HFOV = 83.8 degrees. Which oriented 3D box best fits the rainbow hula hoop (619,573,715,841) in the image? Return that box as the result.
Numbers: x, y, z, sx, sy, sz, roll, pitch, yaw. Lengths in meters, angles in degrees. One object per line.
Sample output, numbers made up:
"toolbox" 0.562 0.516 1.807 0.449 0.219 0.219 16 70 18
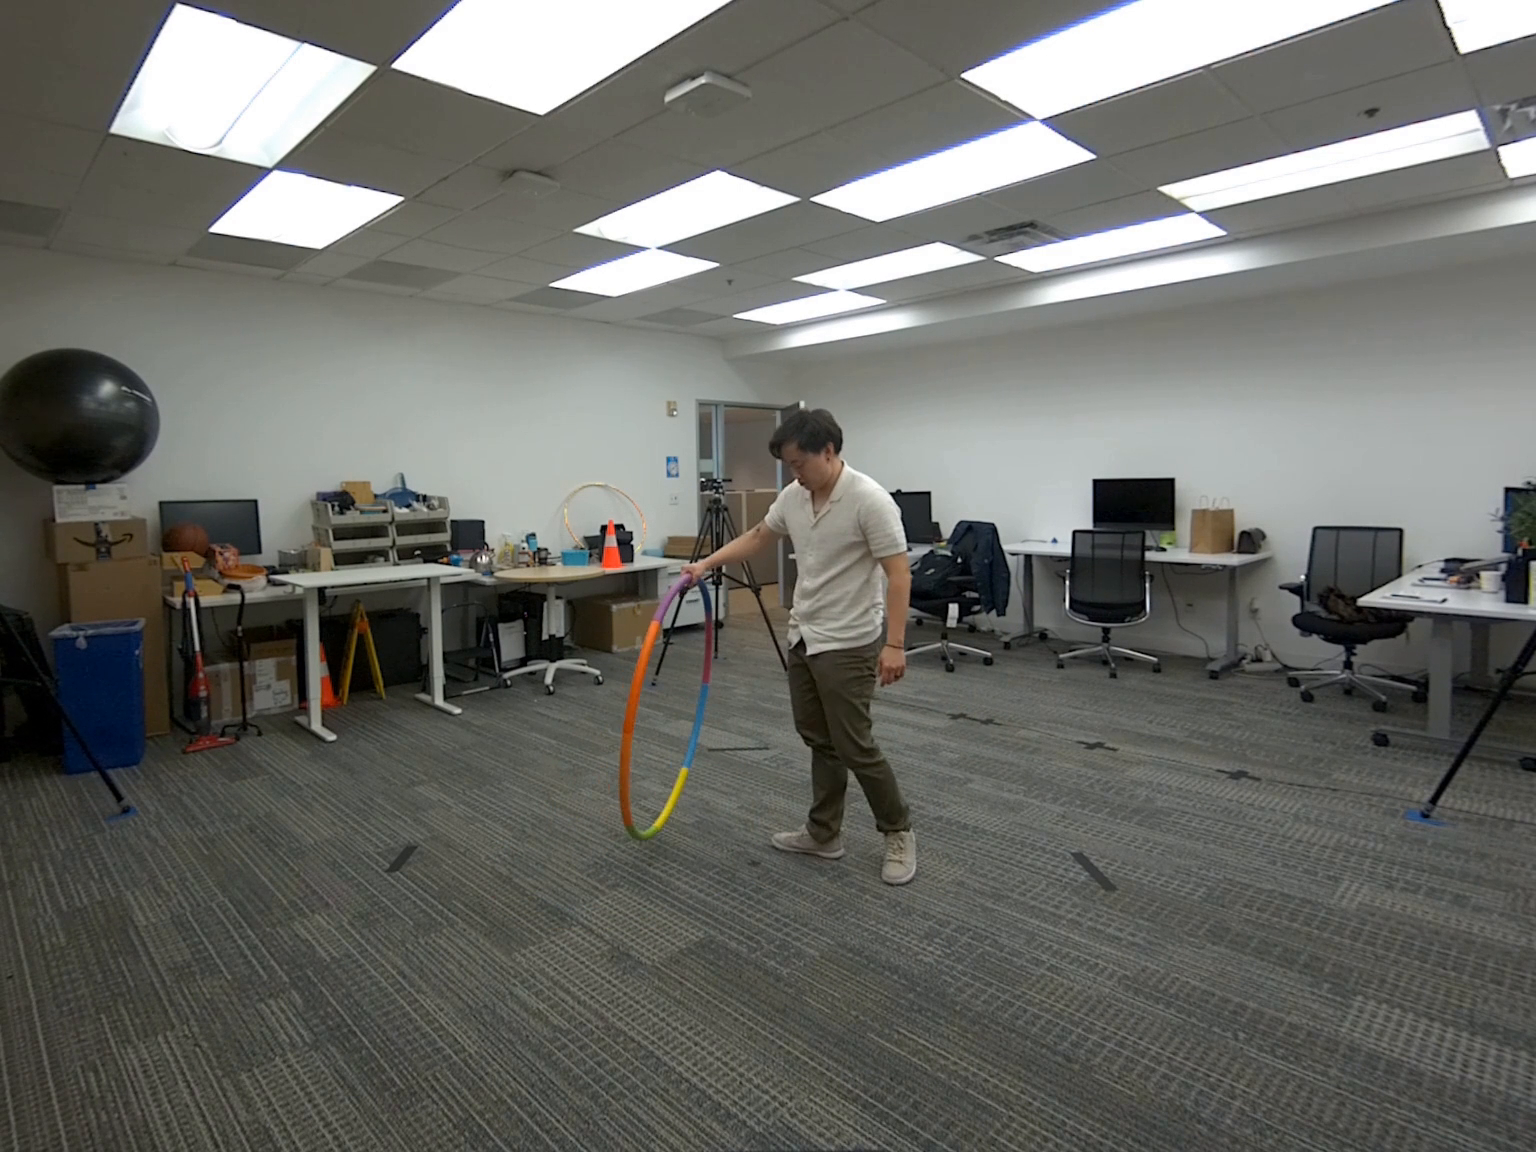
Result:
"rainbow hula hoop" -0.348 0.487 3.195 0.036 0.974 0.970 8 7 10
